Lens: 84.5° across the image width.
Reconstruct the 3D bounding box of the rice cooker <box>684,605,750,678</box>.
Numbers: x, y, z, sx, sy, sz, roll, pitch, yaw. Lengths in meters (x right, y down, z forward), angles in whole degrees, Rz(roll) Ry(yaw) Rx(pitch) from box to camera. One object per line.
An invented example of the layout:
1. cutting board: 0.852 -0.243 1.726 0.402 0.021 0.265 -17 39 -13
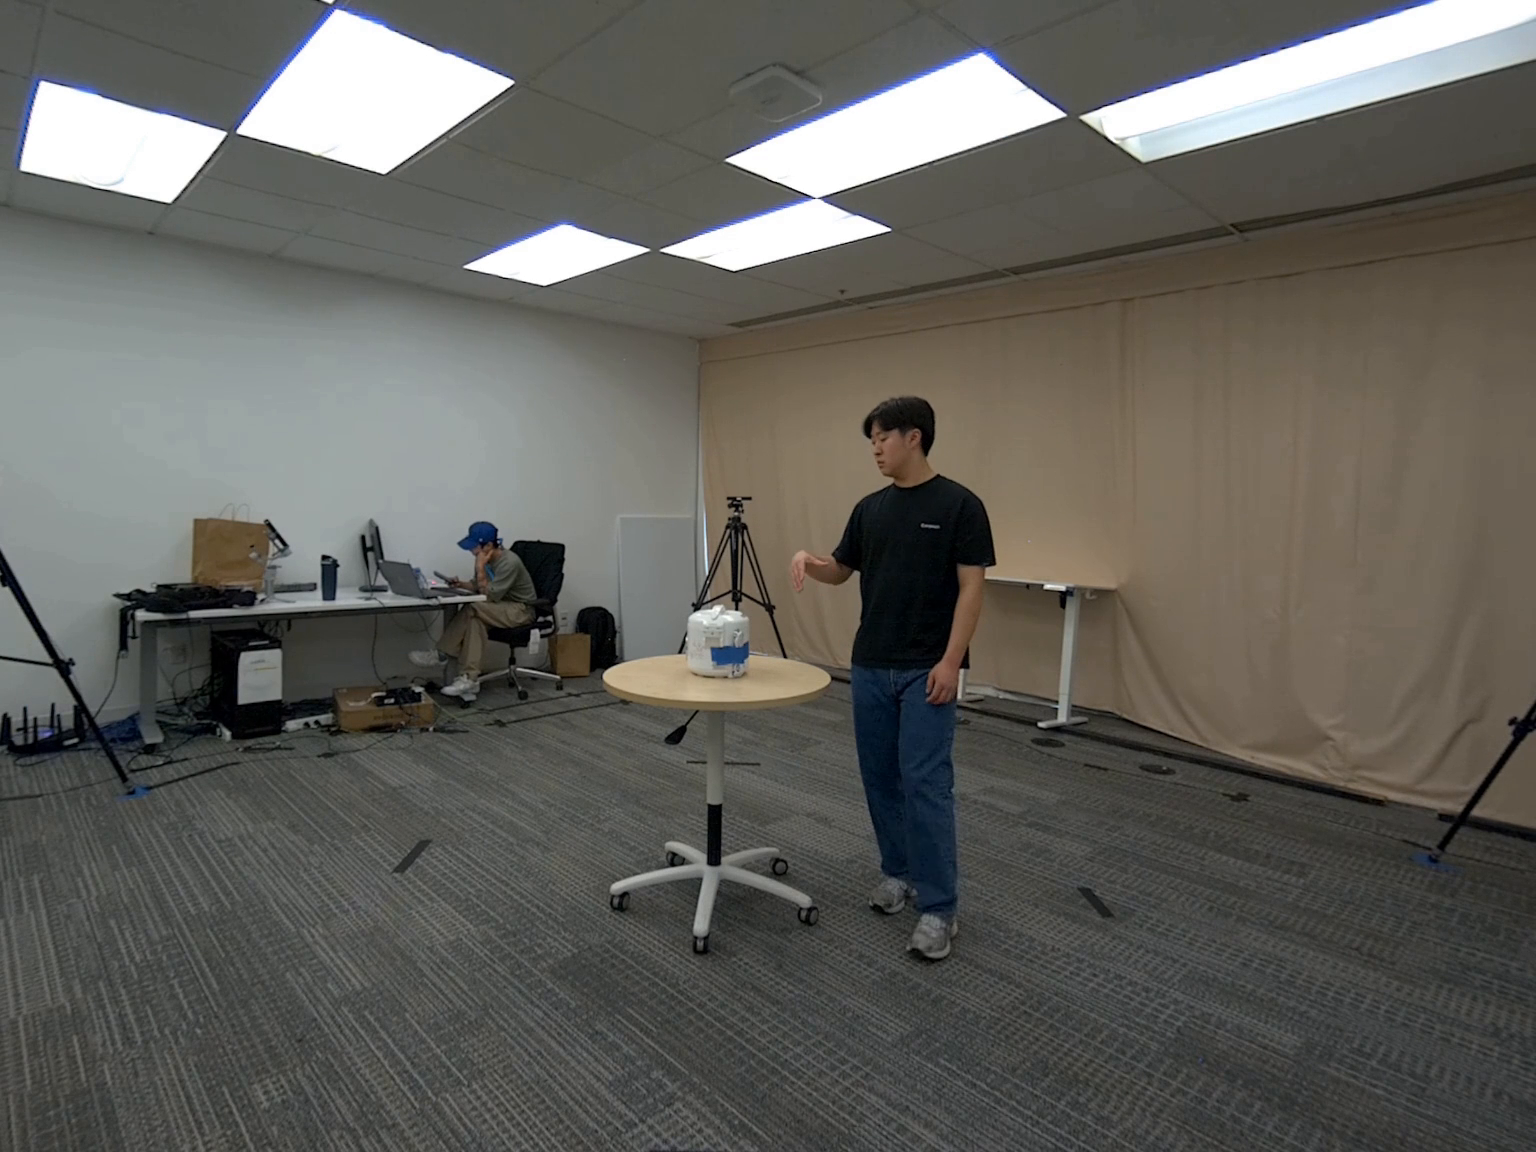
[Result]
1. rice cooker: -0.171 0.214 2.865 0.219 0.232 0.219 2 5 8
